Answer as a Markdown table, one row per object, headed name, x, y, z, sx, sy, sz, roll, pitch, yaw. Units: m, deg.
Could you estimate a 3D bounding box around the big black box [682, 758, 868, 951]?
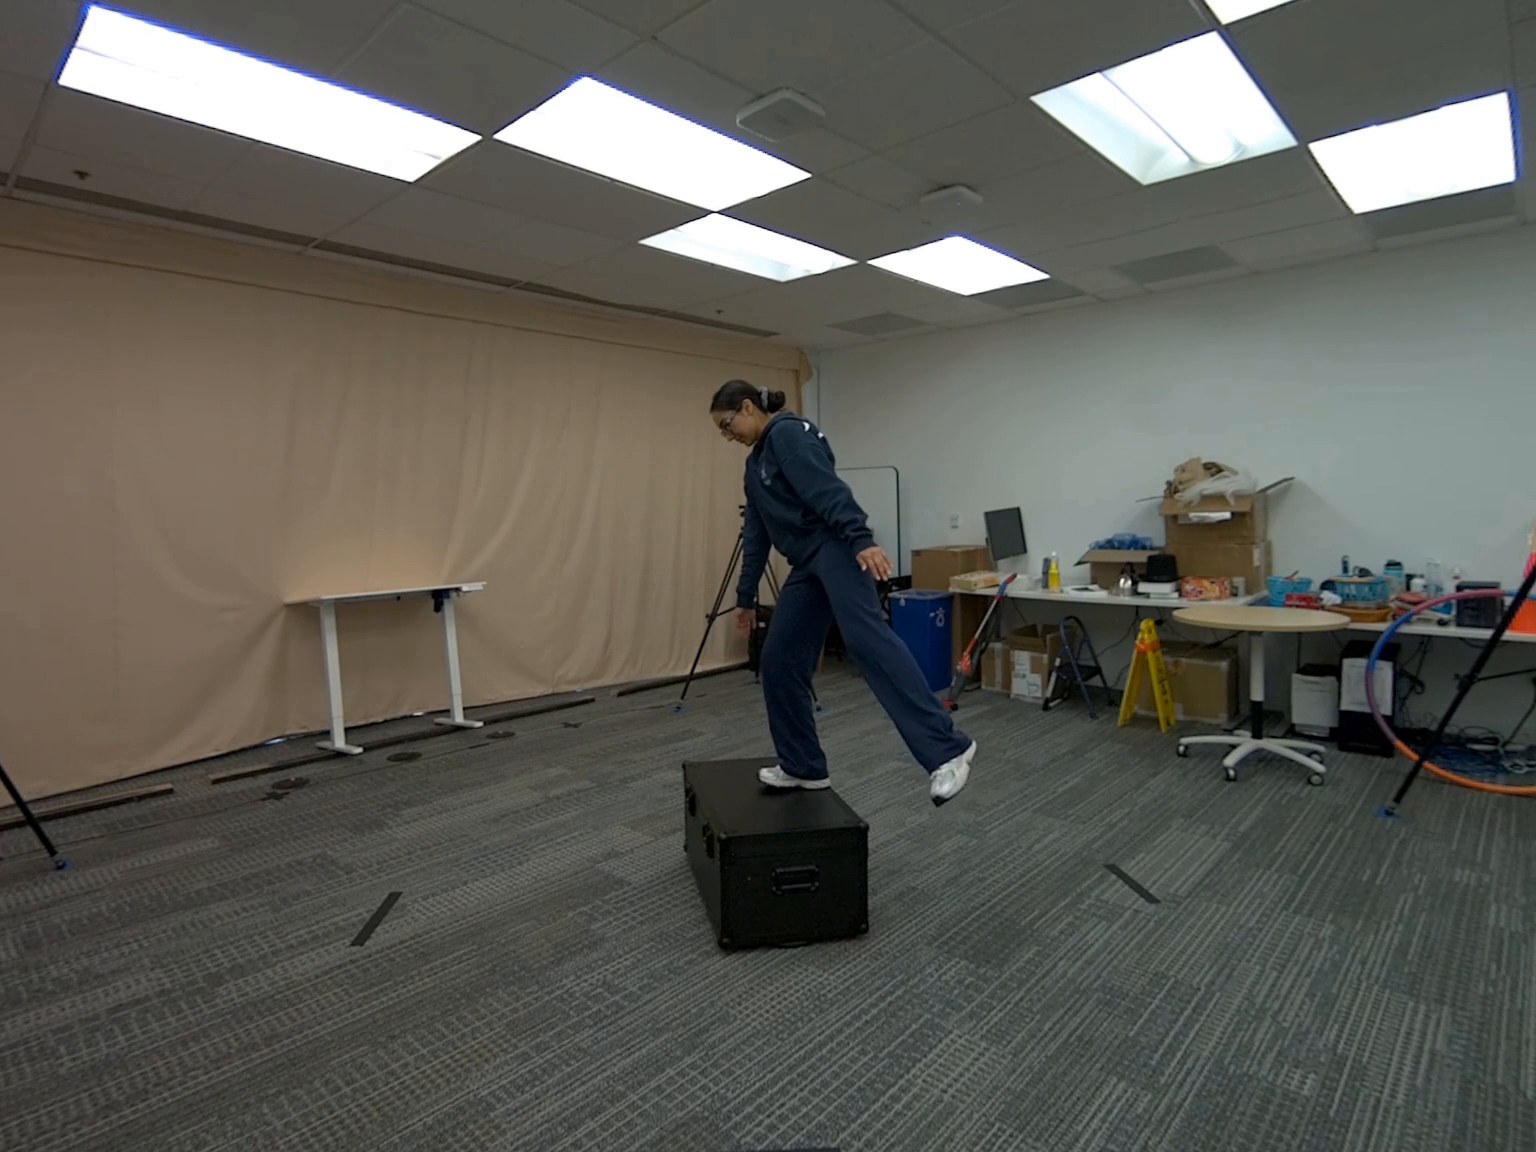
| name | x | y | z | sx | sy | sz | roll | pitch | yaw |
| --- | --- | --- | --- | --- | --- | --- | --- | --- | --- |
| big black box | -0.012 | 0.945 | 3.045 | 0.514 | 0.395 | 0.875 | -1 | 5 | -13 |
